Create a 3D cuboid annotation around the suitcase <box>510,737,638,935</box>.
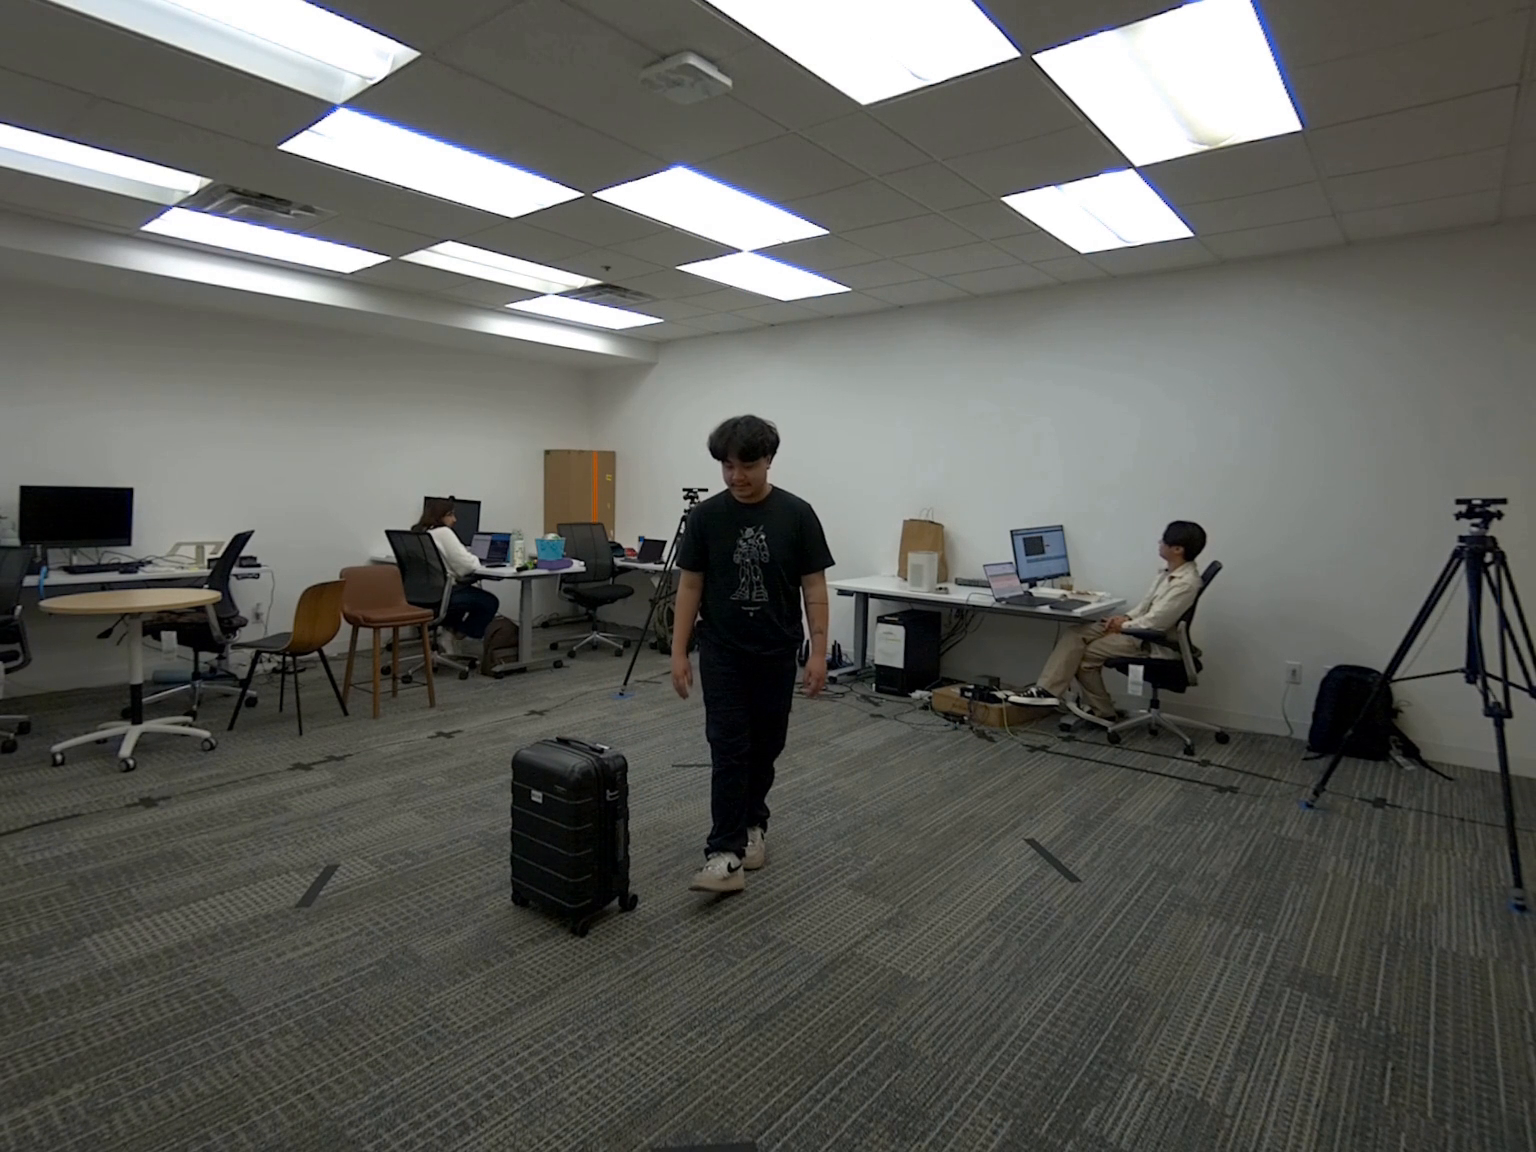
[{"bbox_3d":[-0.658,0.819,2.773,0.388,0.546,0.241,5,7,37],"label":"suitcase"}]
